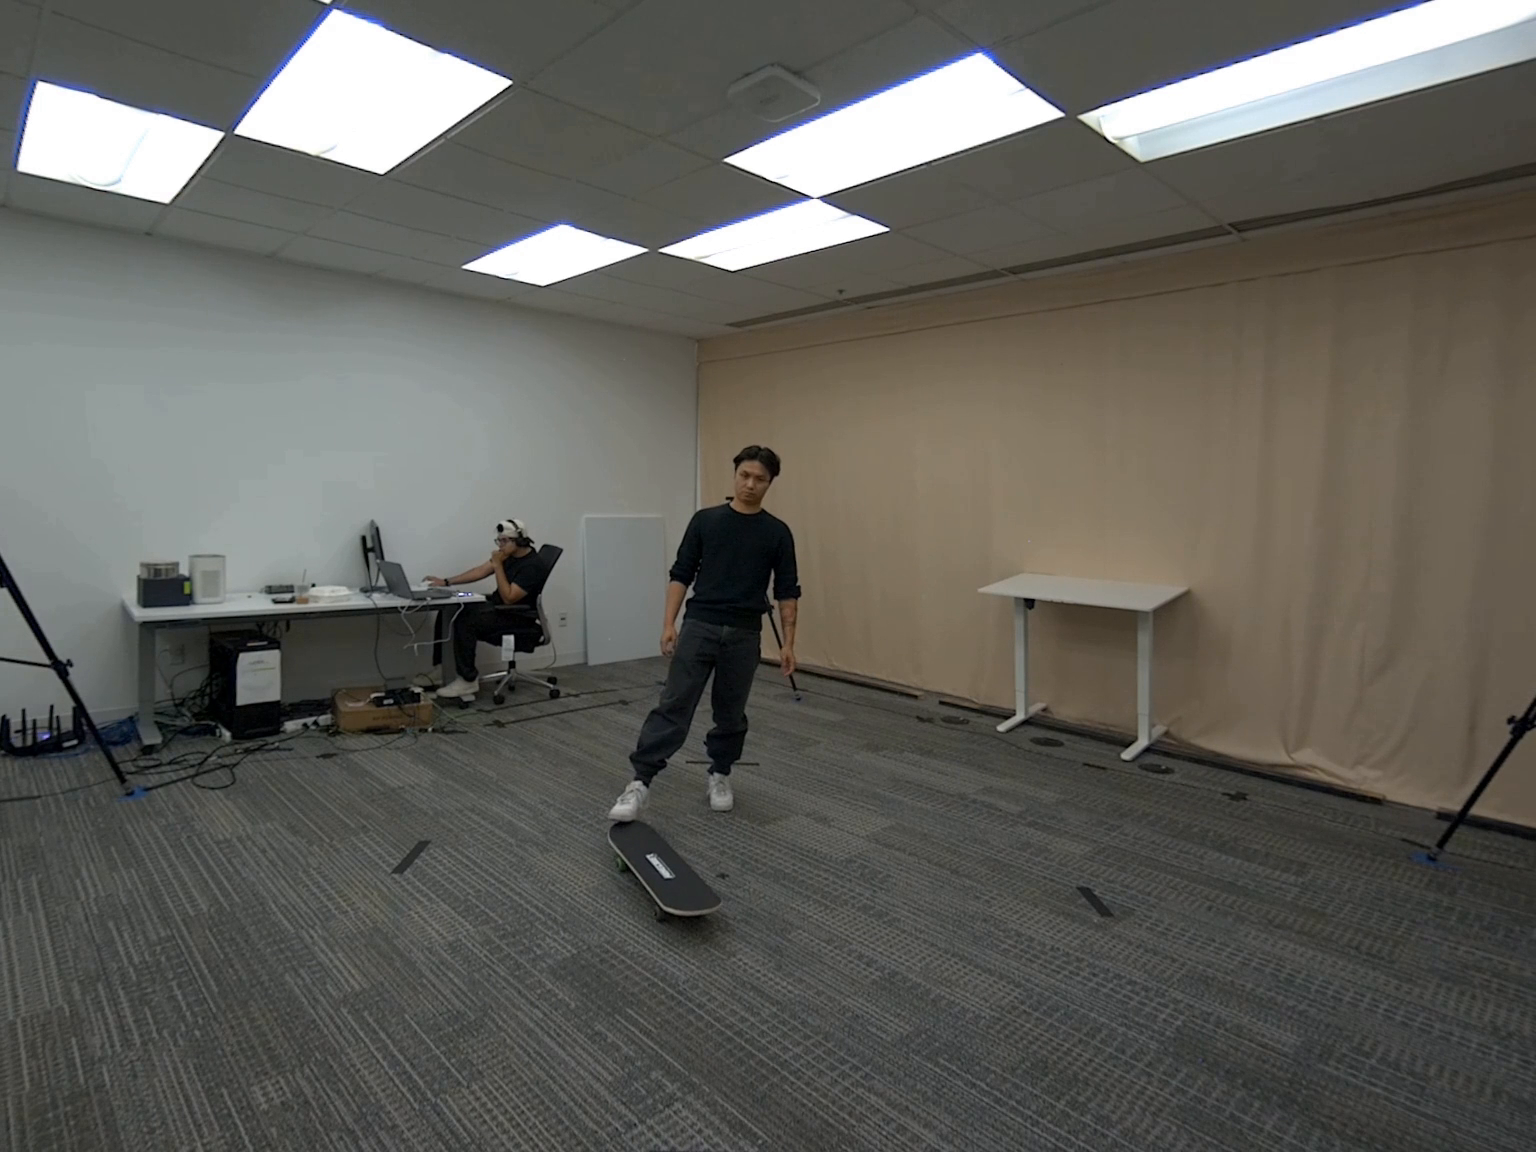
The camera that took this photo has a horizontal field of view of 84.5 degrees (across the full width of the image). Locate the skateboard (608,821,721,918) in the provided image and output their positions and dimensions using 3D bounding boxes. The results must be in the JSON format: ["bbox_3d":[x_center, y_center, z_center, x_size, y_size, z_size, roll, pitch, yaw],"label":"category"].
[{"bbox_3d":[-0.395,1.065,2.975,0.190,0.110,0.802,-2,7,-26],"label":"skateboard"}]
